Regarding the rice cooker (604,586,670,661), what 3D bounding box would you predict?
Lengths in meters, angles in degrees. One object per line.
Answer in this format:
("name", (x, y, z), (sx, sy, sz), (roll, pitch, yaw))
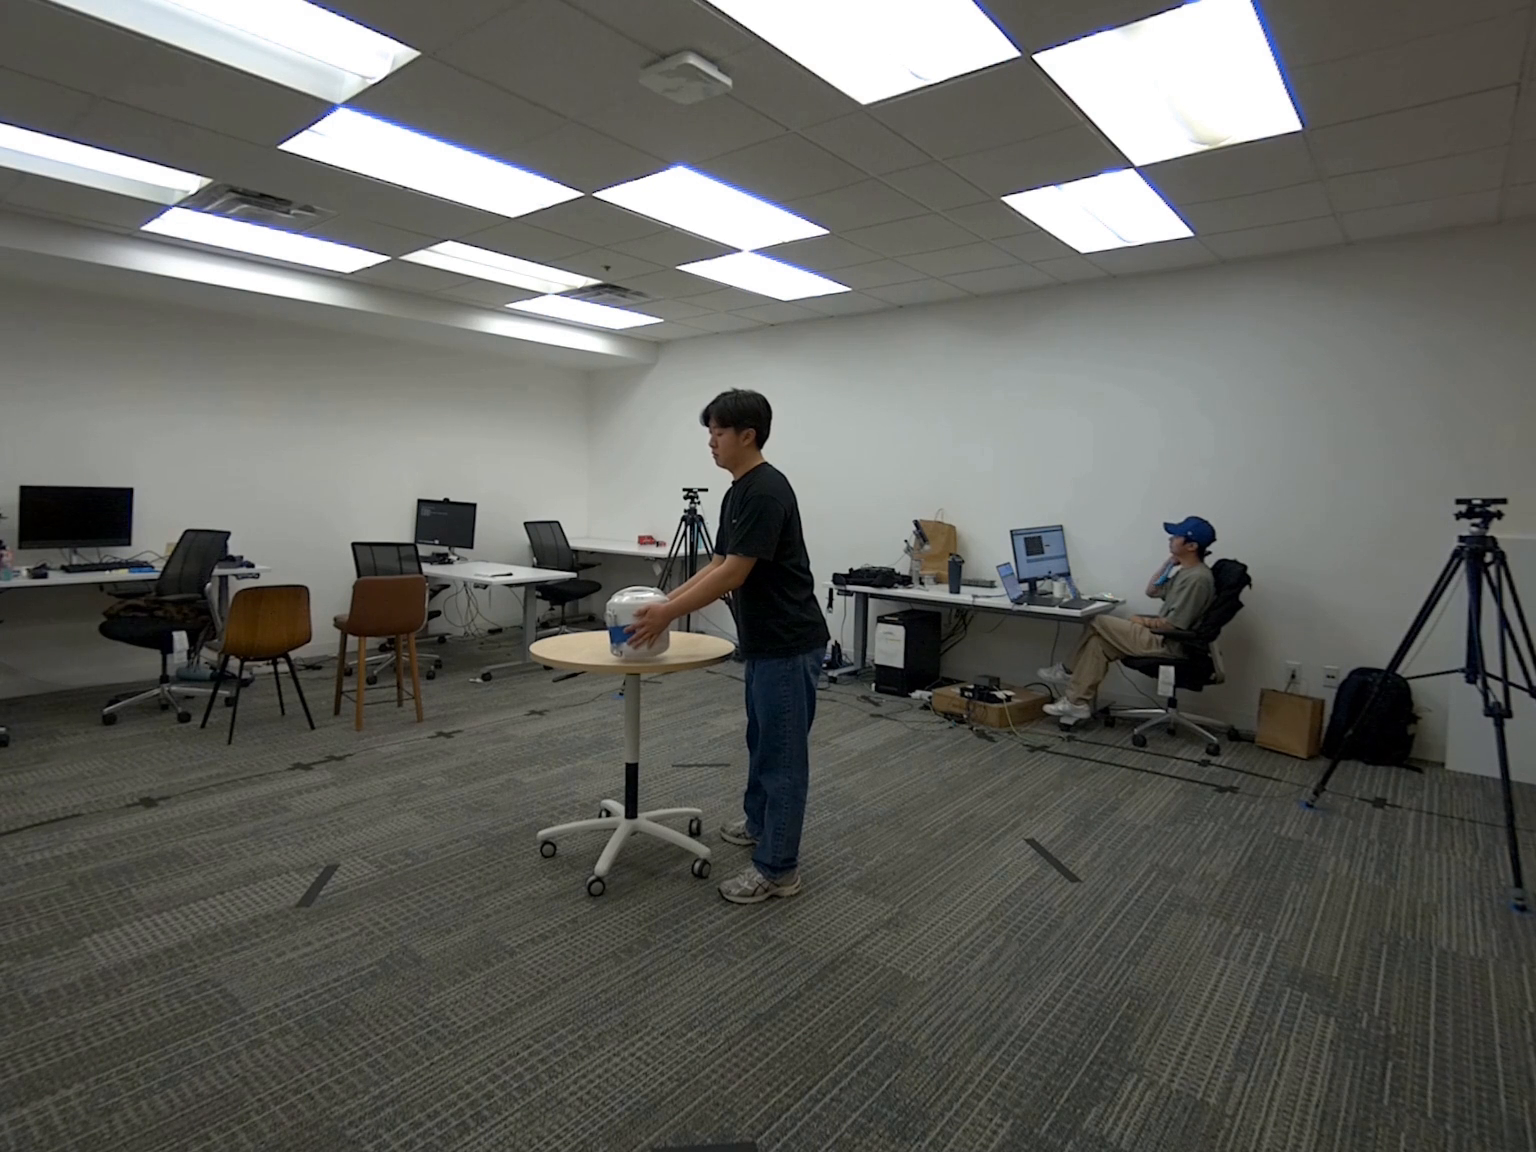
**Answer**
("rice cooker", (-0.459, 0.149, 2.937), (0.220, 0.232, 0.218), (-2, 3, -3))
